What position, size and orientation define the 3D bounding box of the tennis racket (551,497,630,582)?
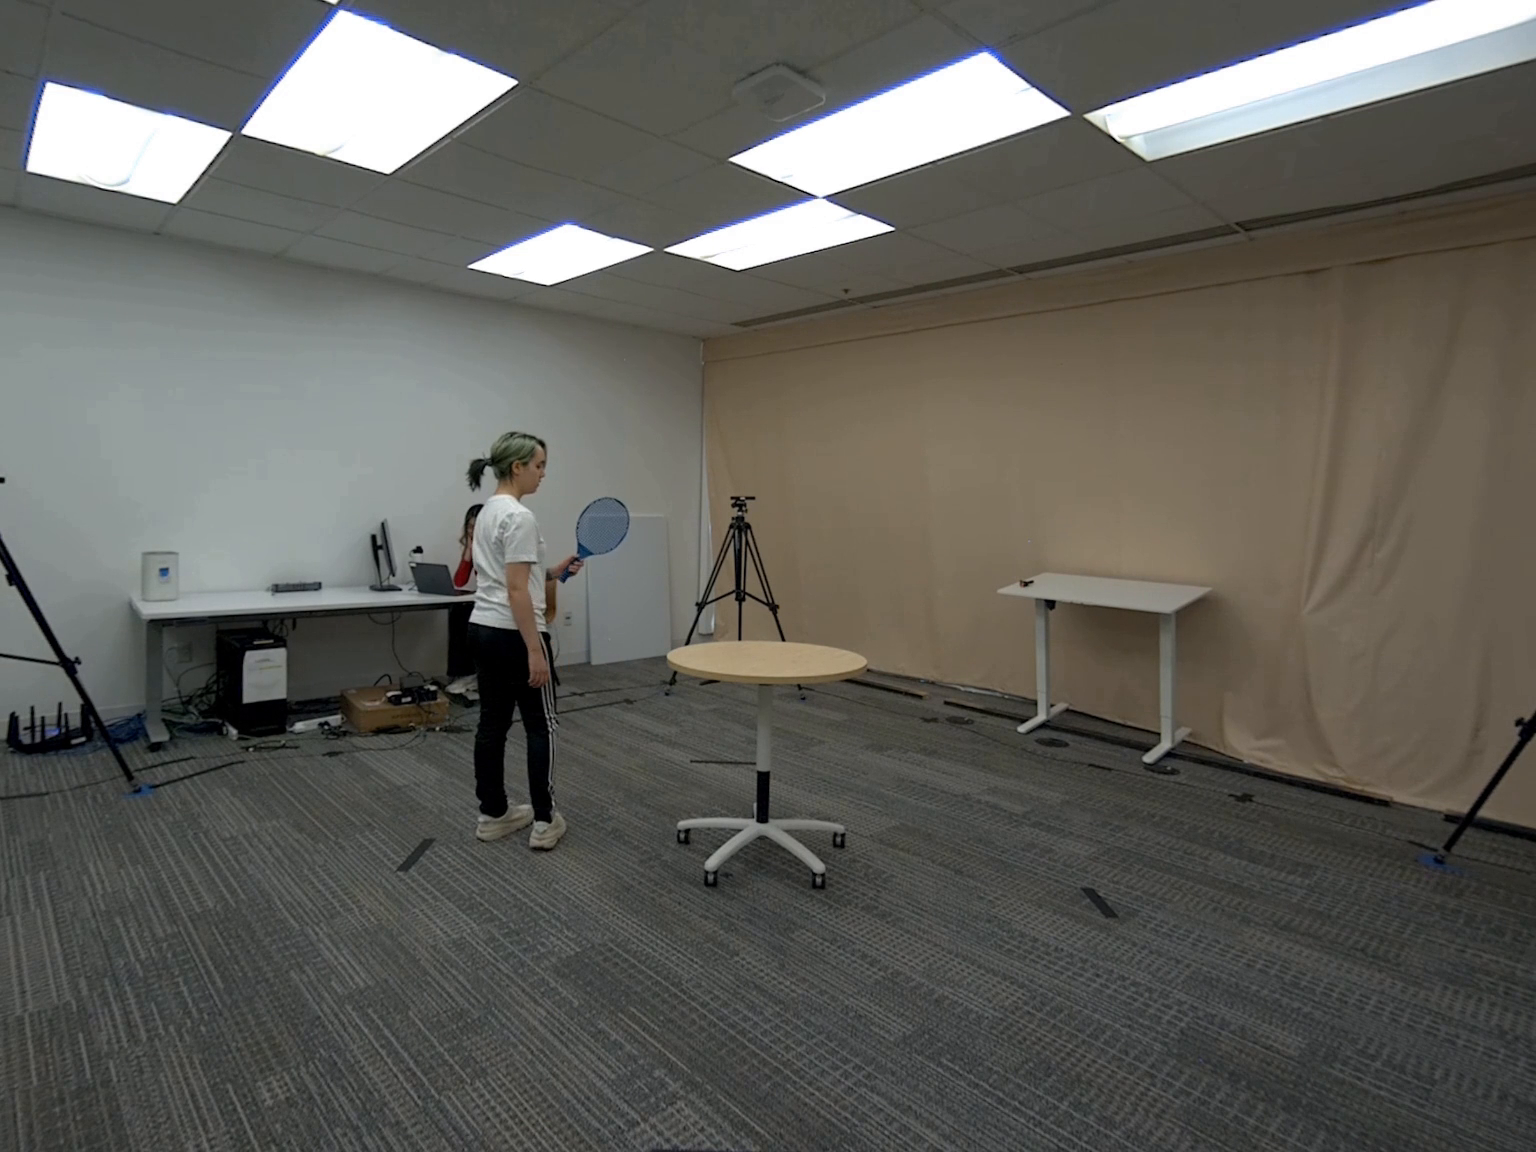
[{"bbox_3d":[-0.777,-0.154,3.605,0.210,0.433,0.032,41,-14,-14],"label":"tennis racket"}]
